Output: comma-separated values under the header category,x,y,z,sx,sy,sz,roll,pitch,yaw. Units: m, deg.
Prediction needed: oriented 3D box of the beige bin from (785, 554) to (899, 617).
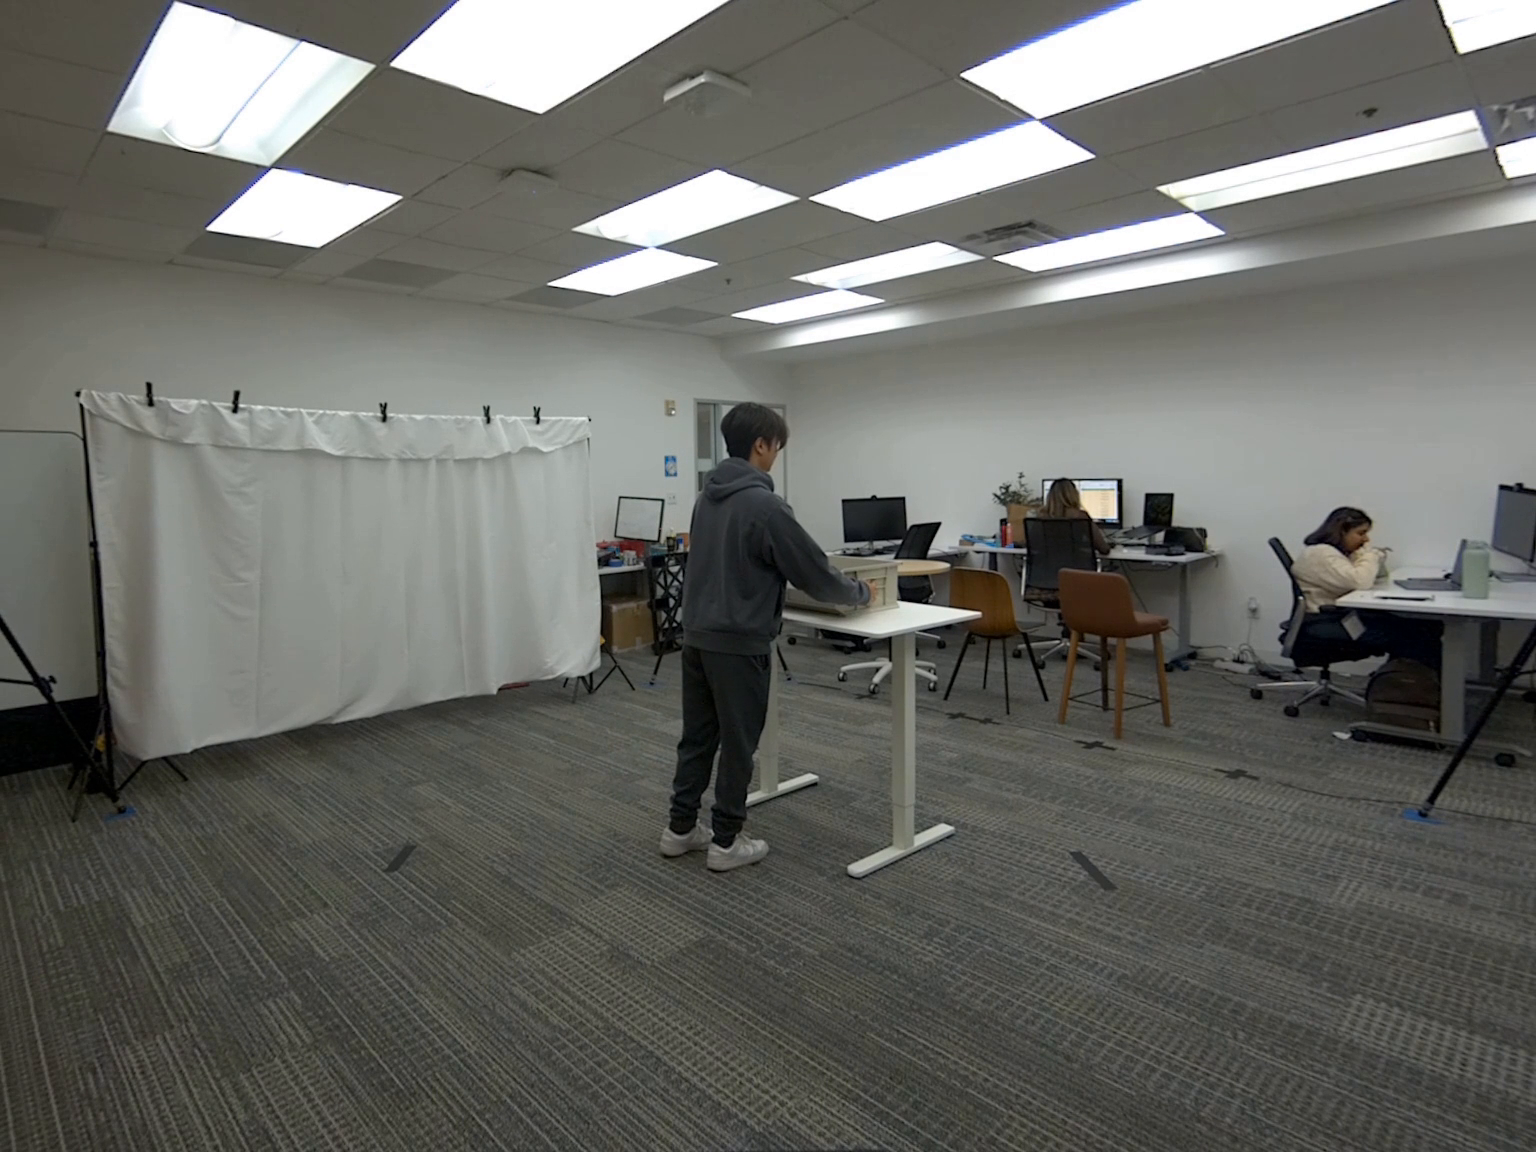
category,x,y,z,sx,sy,sz,roll,pitch,yaw
beige bin,0.259,0.037,3.383,0.367,0.188,0.435,-6,8,-41
